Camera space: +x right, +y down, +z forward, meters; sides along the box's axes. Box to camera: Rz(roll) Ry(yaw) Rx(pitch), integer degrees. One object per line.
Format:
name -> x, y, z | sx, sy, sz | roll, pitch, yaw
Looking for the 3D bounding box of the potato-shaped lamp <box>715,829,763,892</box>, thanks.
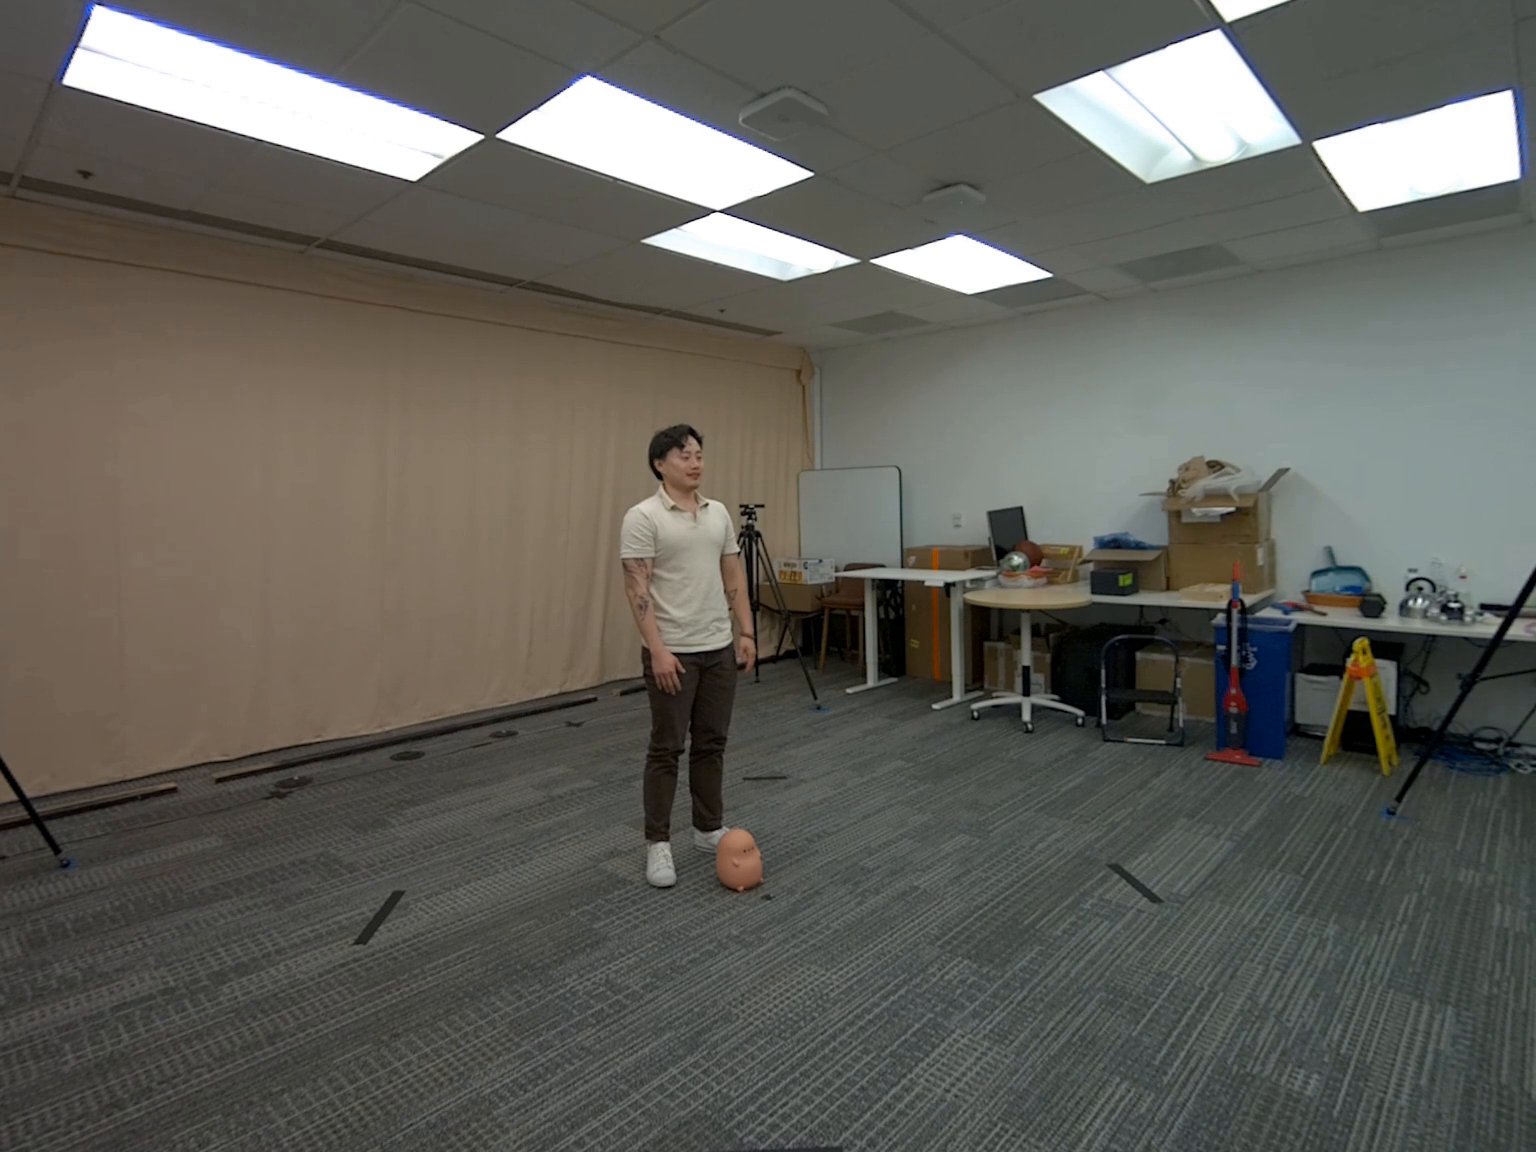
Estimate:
potato-shaped lamp -> -0.105, 1.033, 3.090 | 0.177, 0.198, 0.159 | 3, 4, 44
